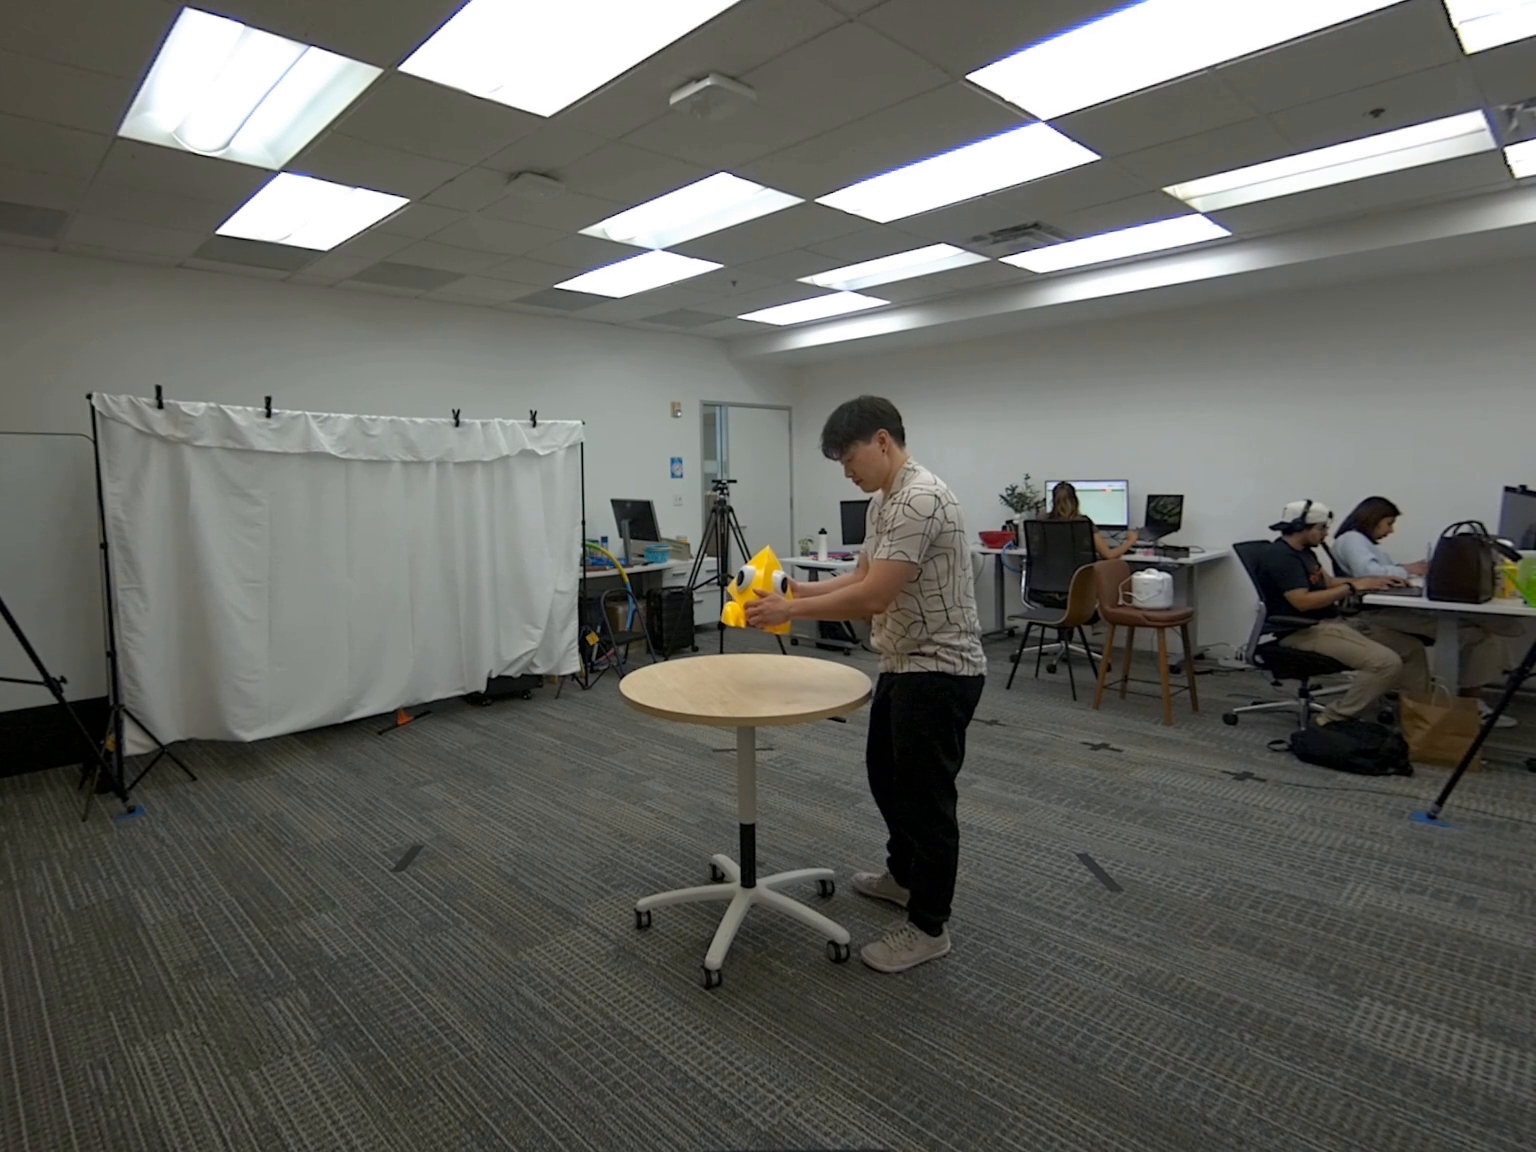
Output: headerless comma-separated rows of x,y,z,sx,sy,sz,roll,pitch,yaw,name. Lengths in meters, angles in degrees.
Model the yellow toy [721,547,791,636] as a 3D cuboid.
-0.012,0.031,2.479,0.205,0.230,0.193,9,3,1,yellow toy
